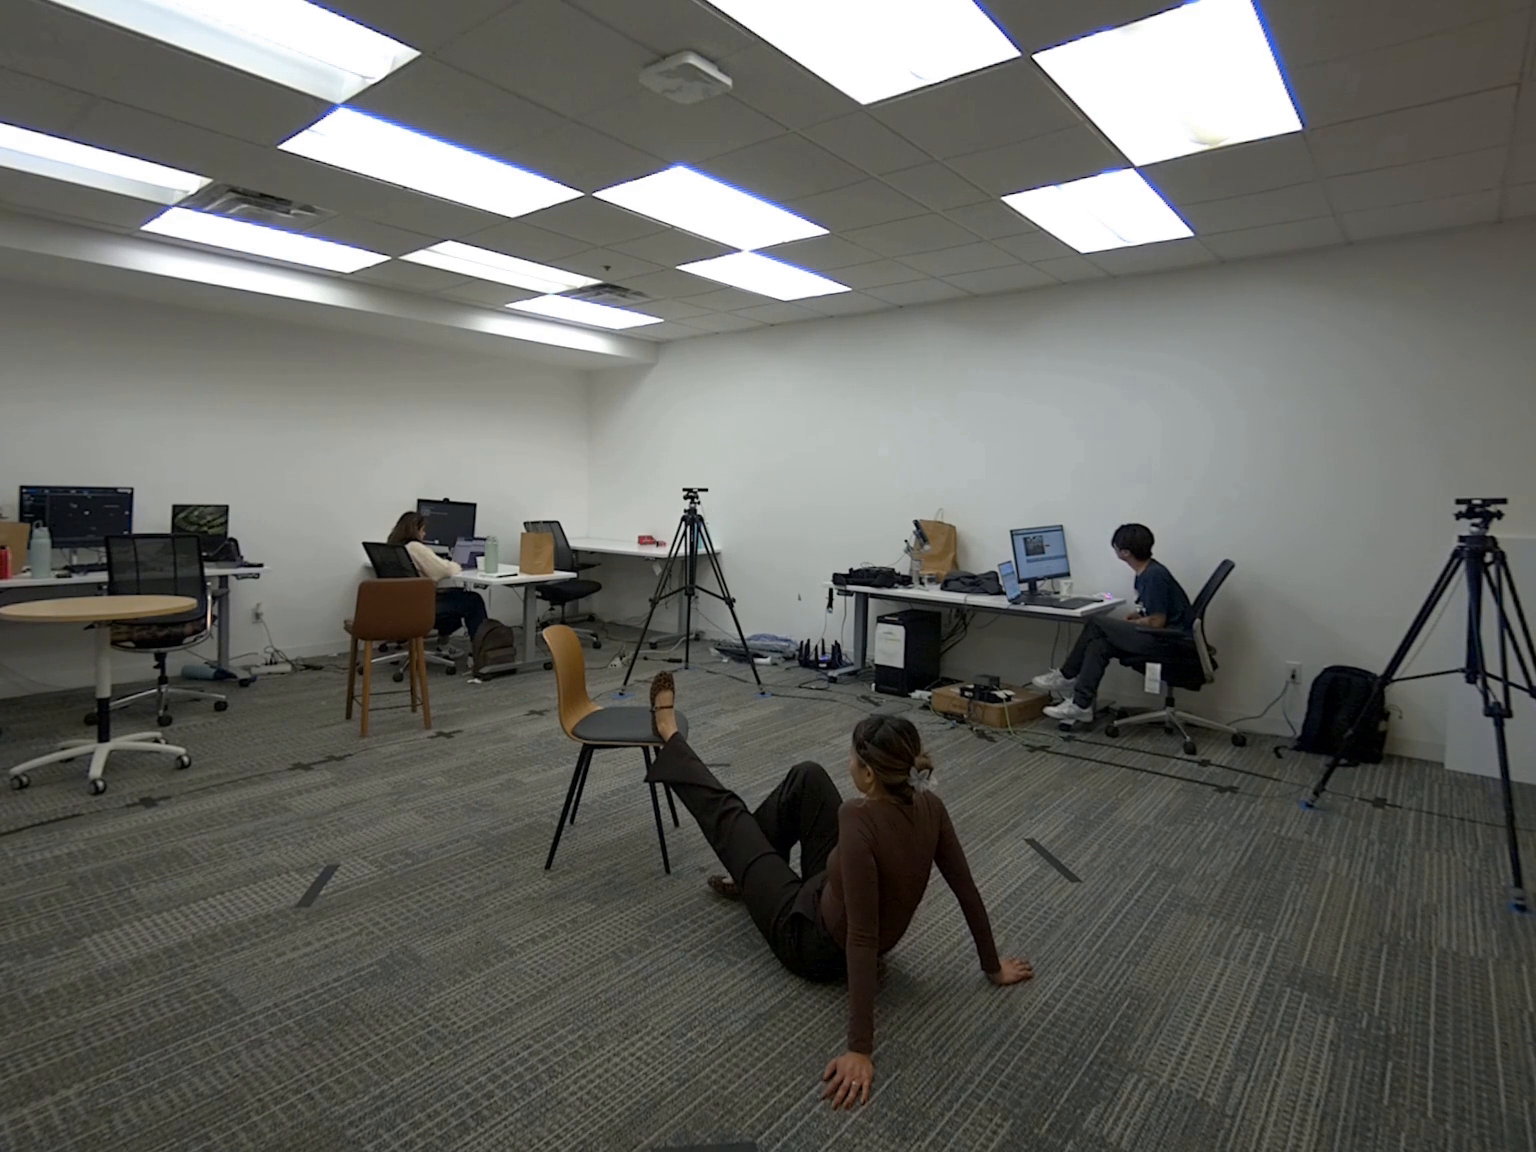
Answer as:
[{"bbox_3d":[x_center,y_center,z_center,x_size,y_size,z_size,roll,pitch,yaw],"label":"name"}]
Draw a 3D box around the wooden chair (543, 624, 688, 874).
[{"bbox_3d":[-0.583,0.620,3.268,0.524,0.875,0.479,-3,3,1],"label":"wooden chair"}]
